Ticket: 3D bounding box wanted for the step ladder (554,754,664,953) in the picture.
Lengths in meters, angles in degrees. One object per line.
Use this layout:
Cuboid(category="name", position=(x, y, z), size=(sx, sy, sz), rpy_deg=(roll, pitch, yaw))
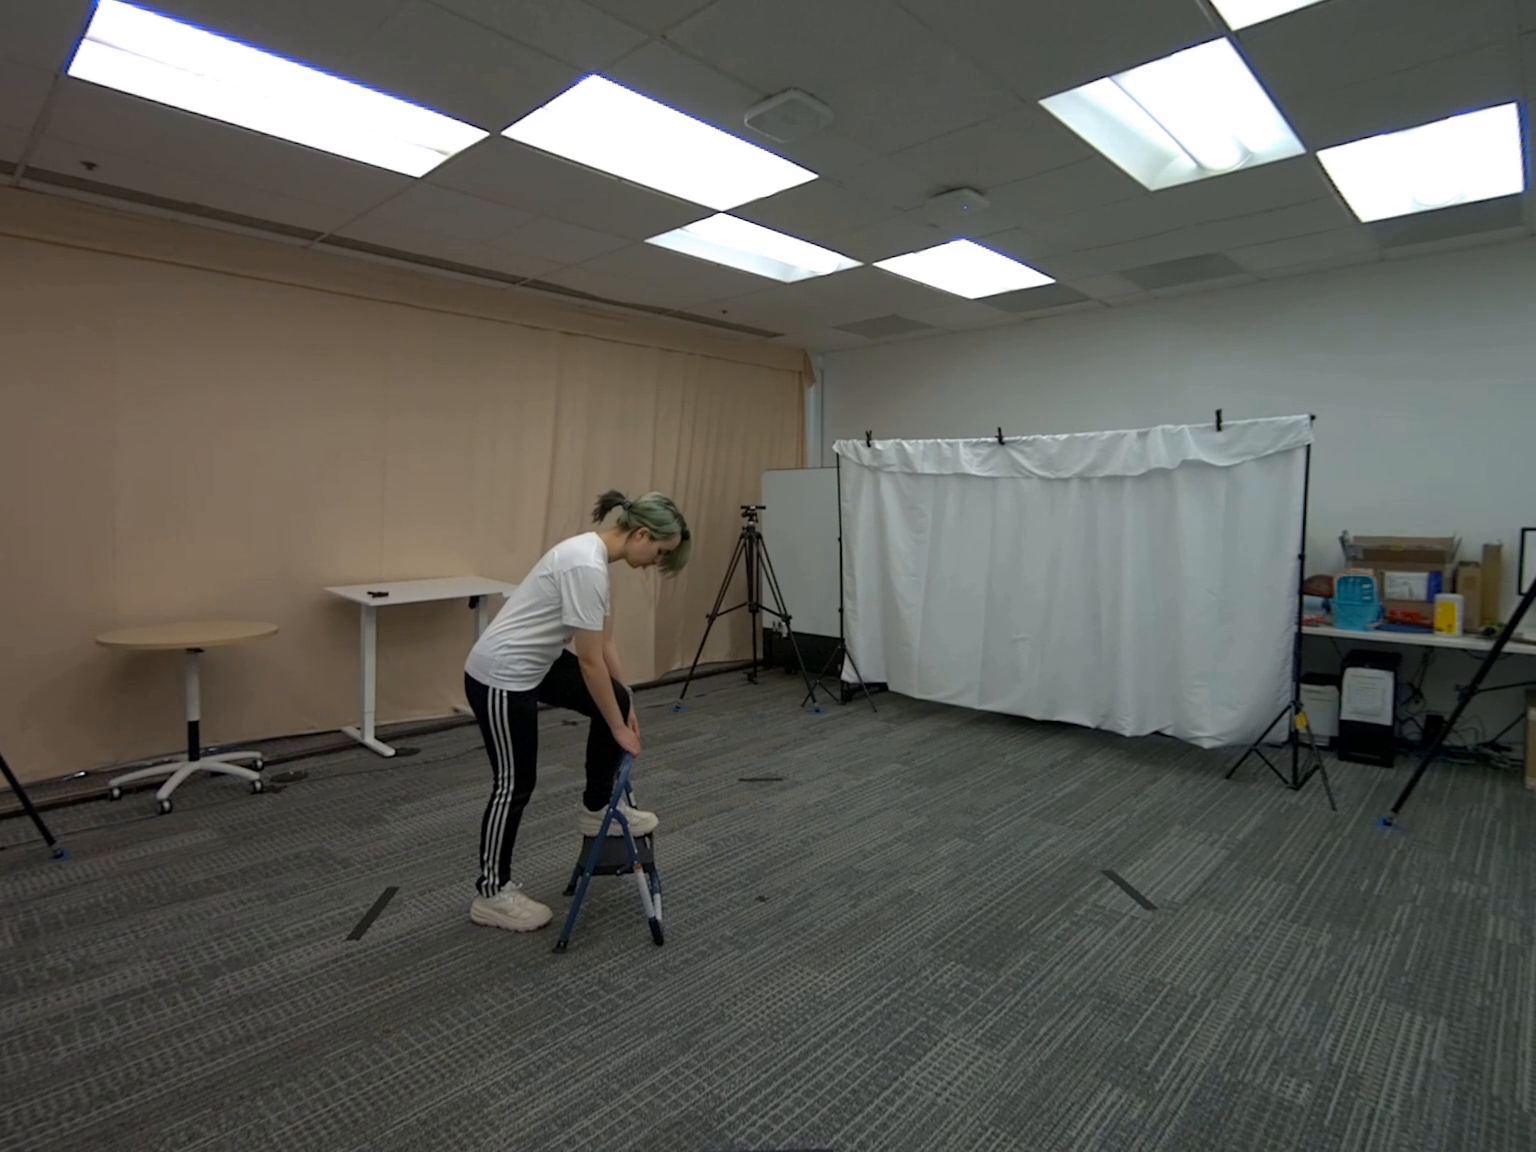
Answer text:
Cuboid(category="step ladder", position=(-0.535, 0.865, 2.834), size=(0.347, 0.605, 0.435), rpy_deg=(-1, 3, -8))
